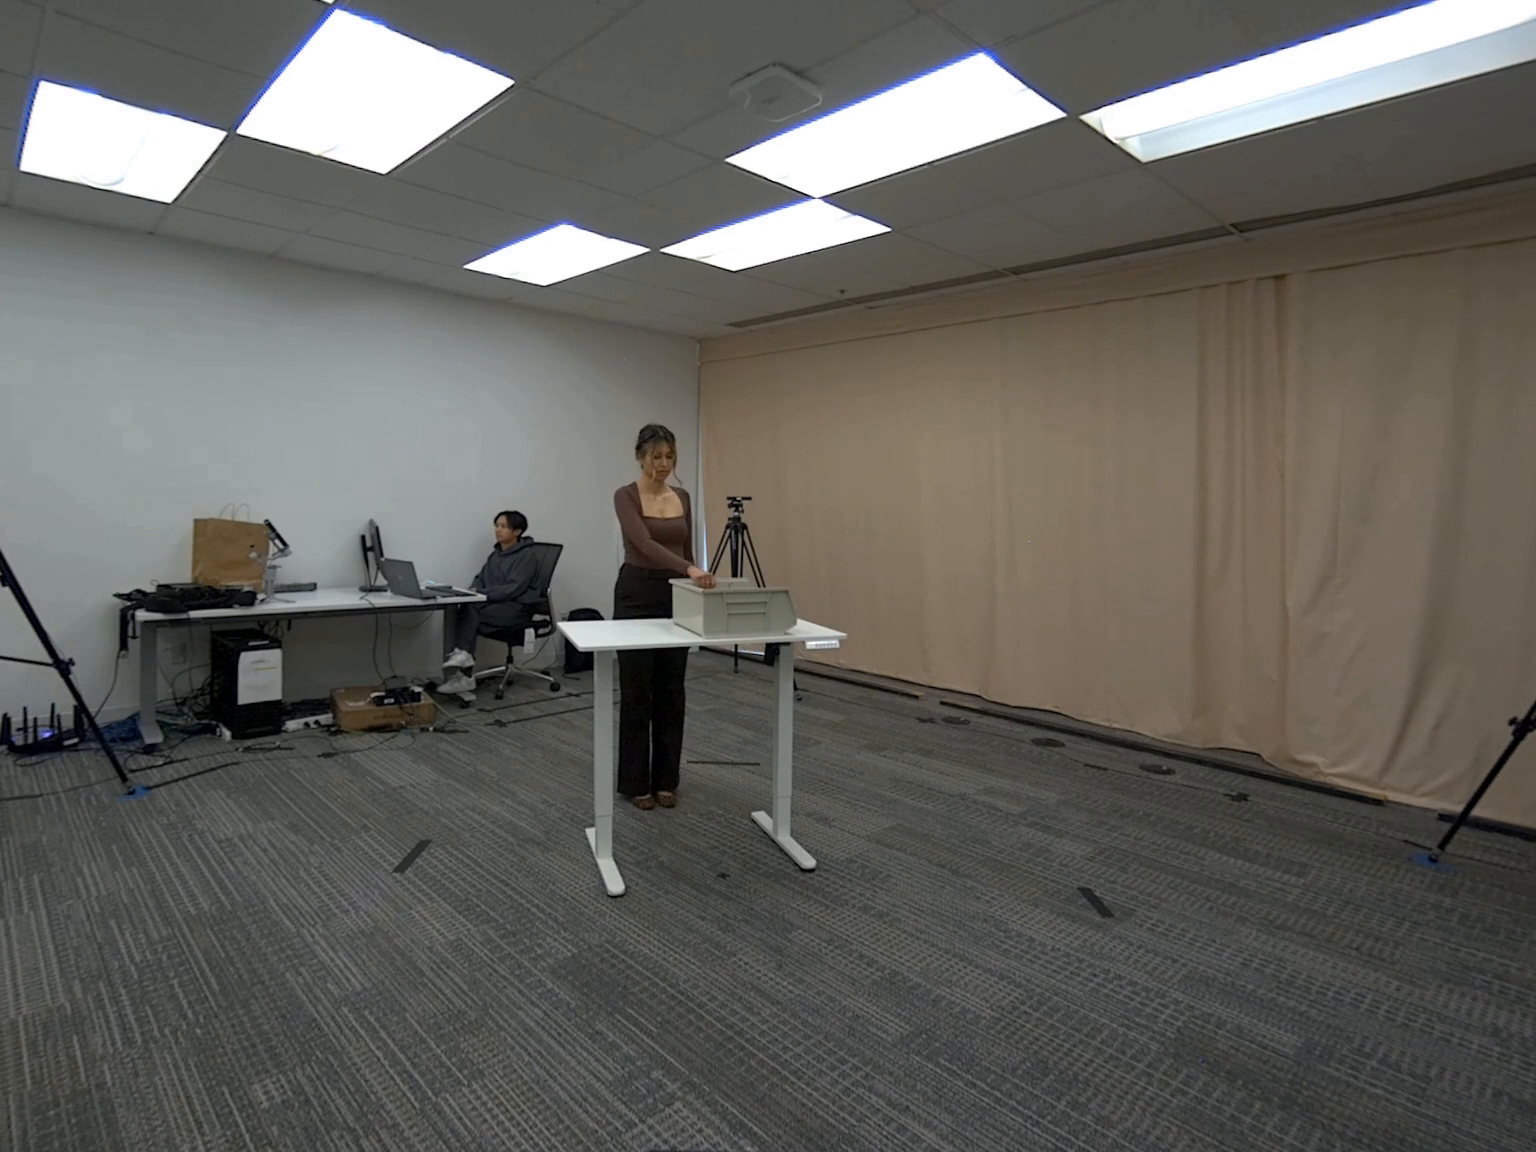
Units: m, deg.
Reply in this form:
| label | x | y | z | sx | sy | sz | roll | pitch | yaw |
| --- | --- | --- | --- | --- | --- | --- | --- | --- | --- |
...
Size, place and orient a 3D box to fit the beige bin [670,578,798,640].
| label | x | y | z | sx | sy | sz | roll | pitch | yaw |
| --- | --- | --- | --- | --- | --- | --- | --- | --- | --- |
| beige bin | -0.148 | 0.118 | 3.256 | 0.371 | 0.188 | 0.430 | -2 | 6 | -22 |
